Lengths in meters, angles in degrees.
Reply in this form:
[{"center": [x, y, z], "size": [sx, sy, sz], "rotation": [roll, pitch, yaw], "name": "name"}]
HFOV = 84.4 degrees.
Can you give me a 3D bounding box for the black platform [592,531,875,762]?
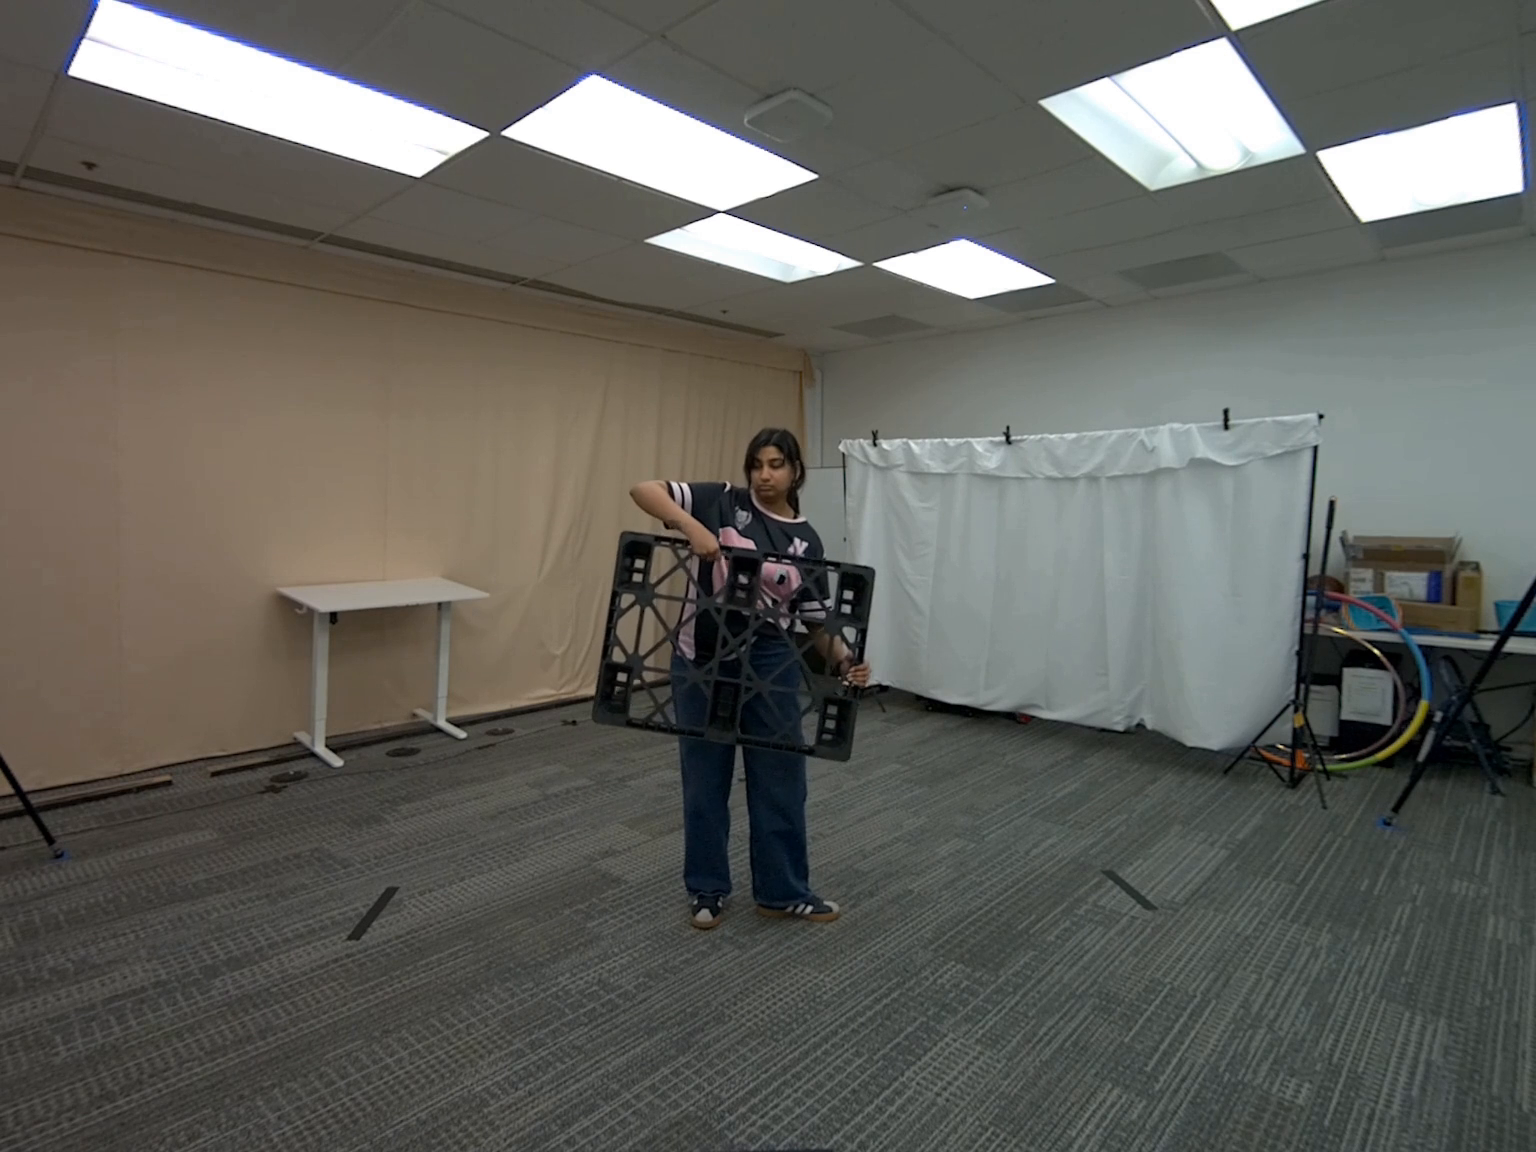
[{"center": [-0.095, 0.213, 2.637], "size": [0.807, 0.606, 0.143], "rotation": [8, -4, 1], "name": "black platform"}]
